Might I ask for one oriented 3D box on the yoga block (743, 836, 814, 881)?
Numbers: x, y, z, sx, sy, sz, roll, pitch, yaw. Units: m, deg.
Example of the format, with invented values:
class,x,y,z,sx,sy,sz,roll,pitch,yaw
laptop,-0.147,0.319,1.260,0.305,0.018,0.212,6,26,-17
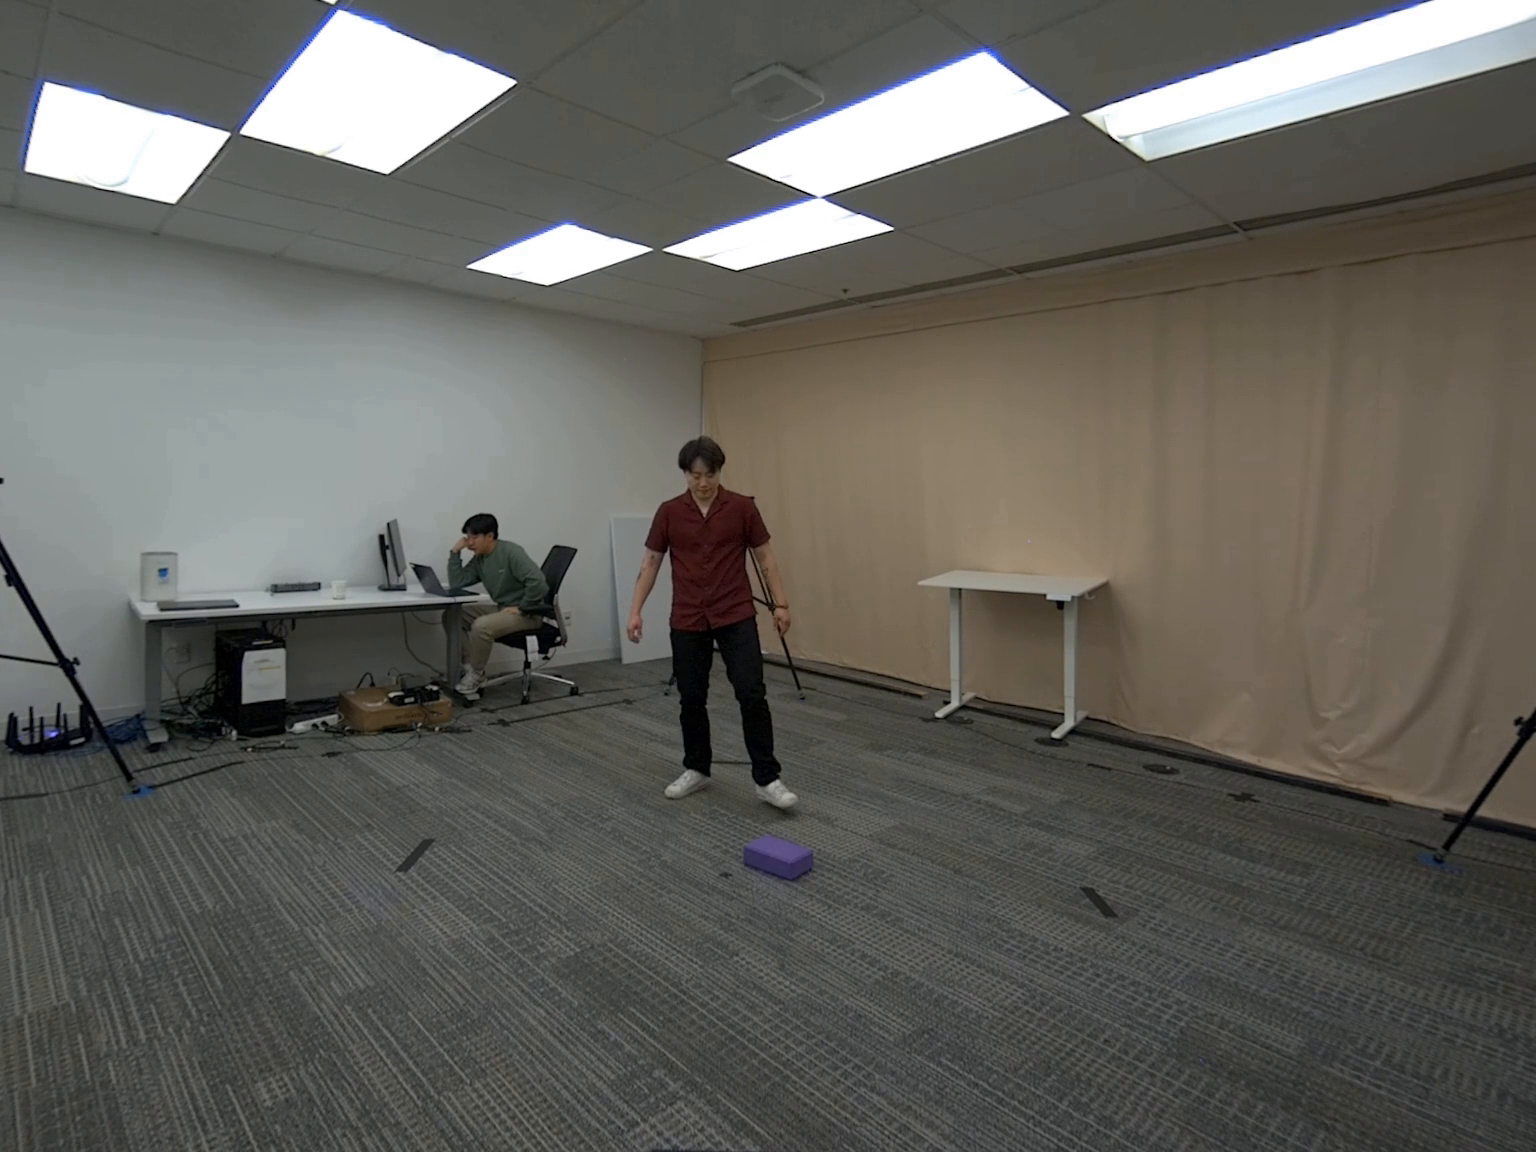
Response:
class,x,y,z,sx,sy,sz,roll,pitch,yaw
yoga block,0.032,1.062,3.180,0.235,0.076,0.146,5,6,38
